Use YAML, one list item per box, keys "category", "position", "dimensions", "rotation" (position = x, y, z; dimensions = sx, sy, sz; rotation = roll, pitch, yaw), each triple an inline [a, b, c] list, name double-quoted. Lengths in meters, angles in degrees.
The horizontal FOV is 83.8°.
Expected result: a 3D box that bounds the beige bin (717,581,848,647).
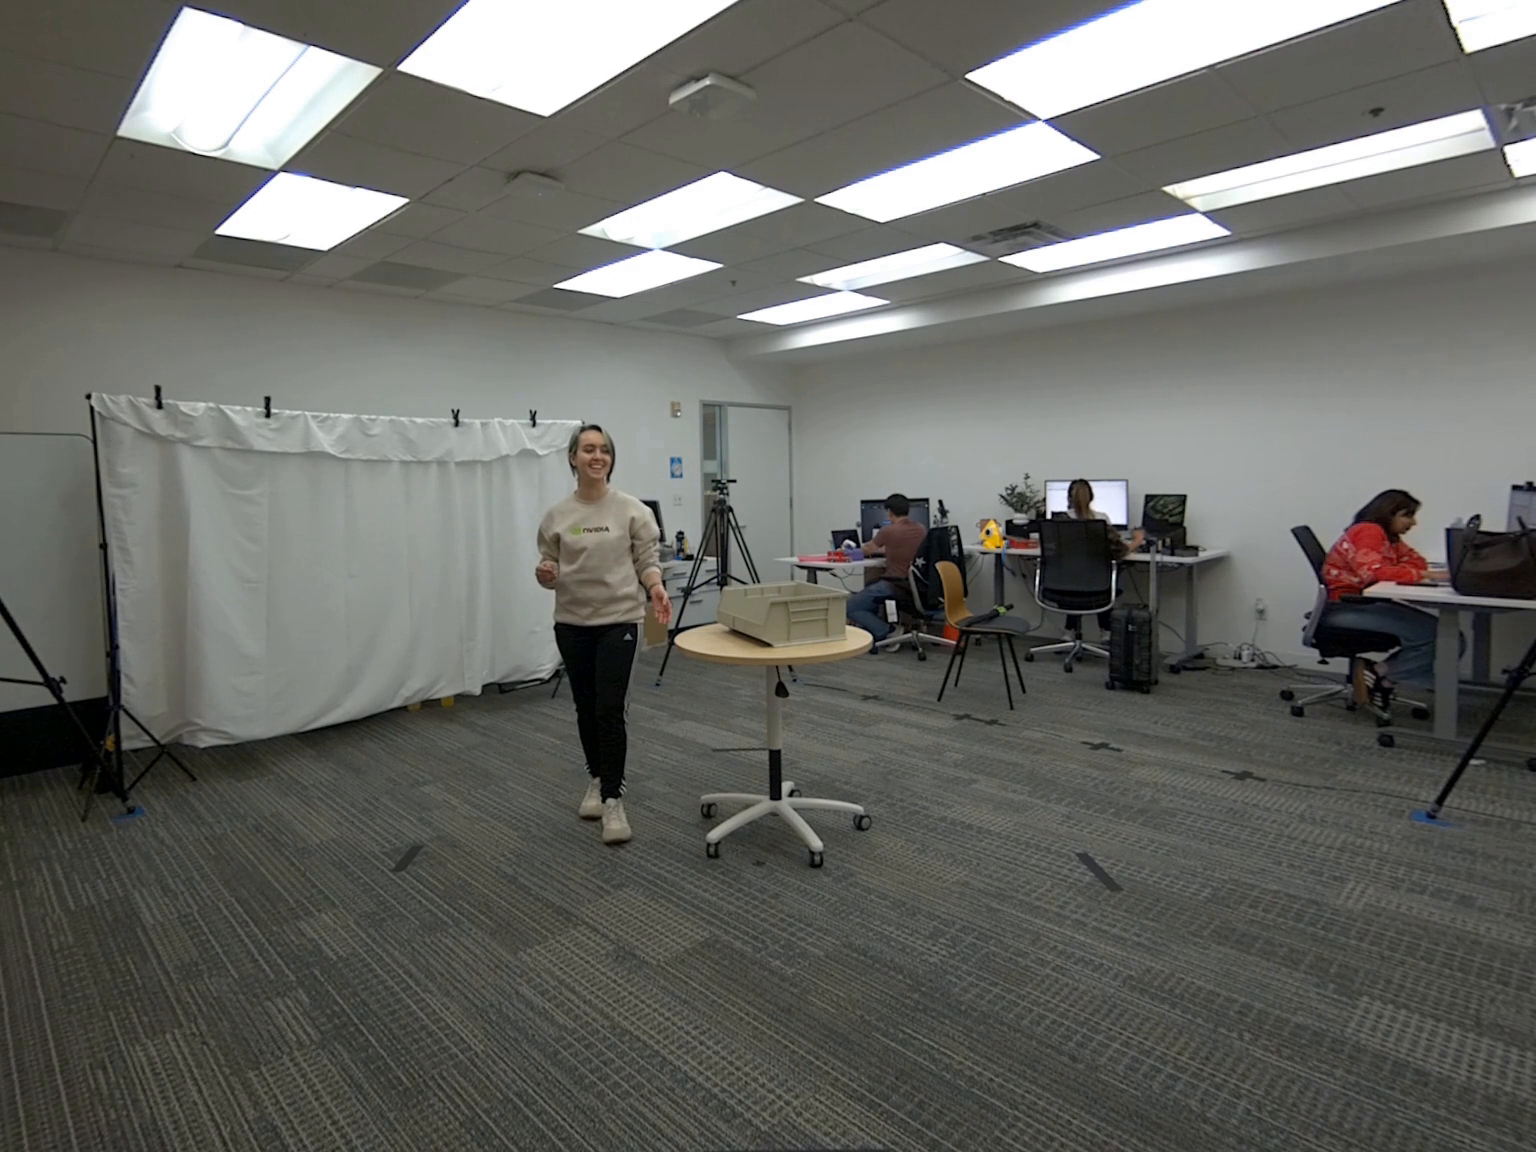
- category: "beige bin"
  position: [0.051, 0.145, 3.342]
  dimensions: [0.369, 0.188, 0.433]
  rotation: [-3, 6, -25]
